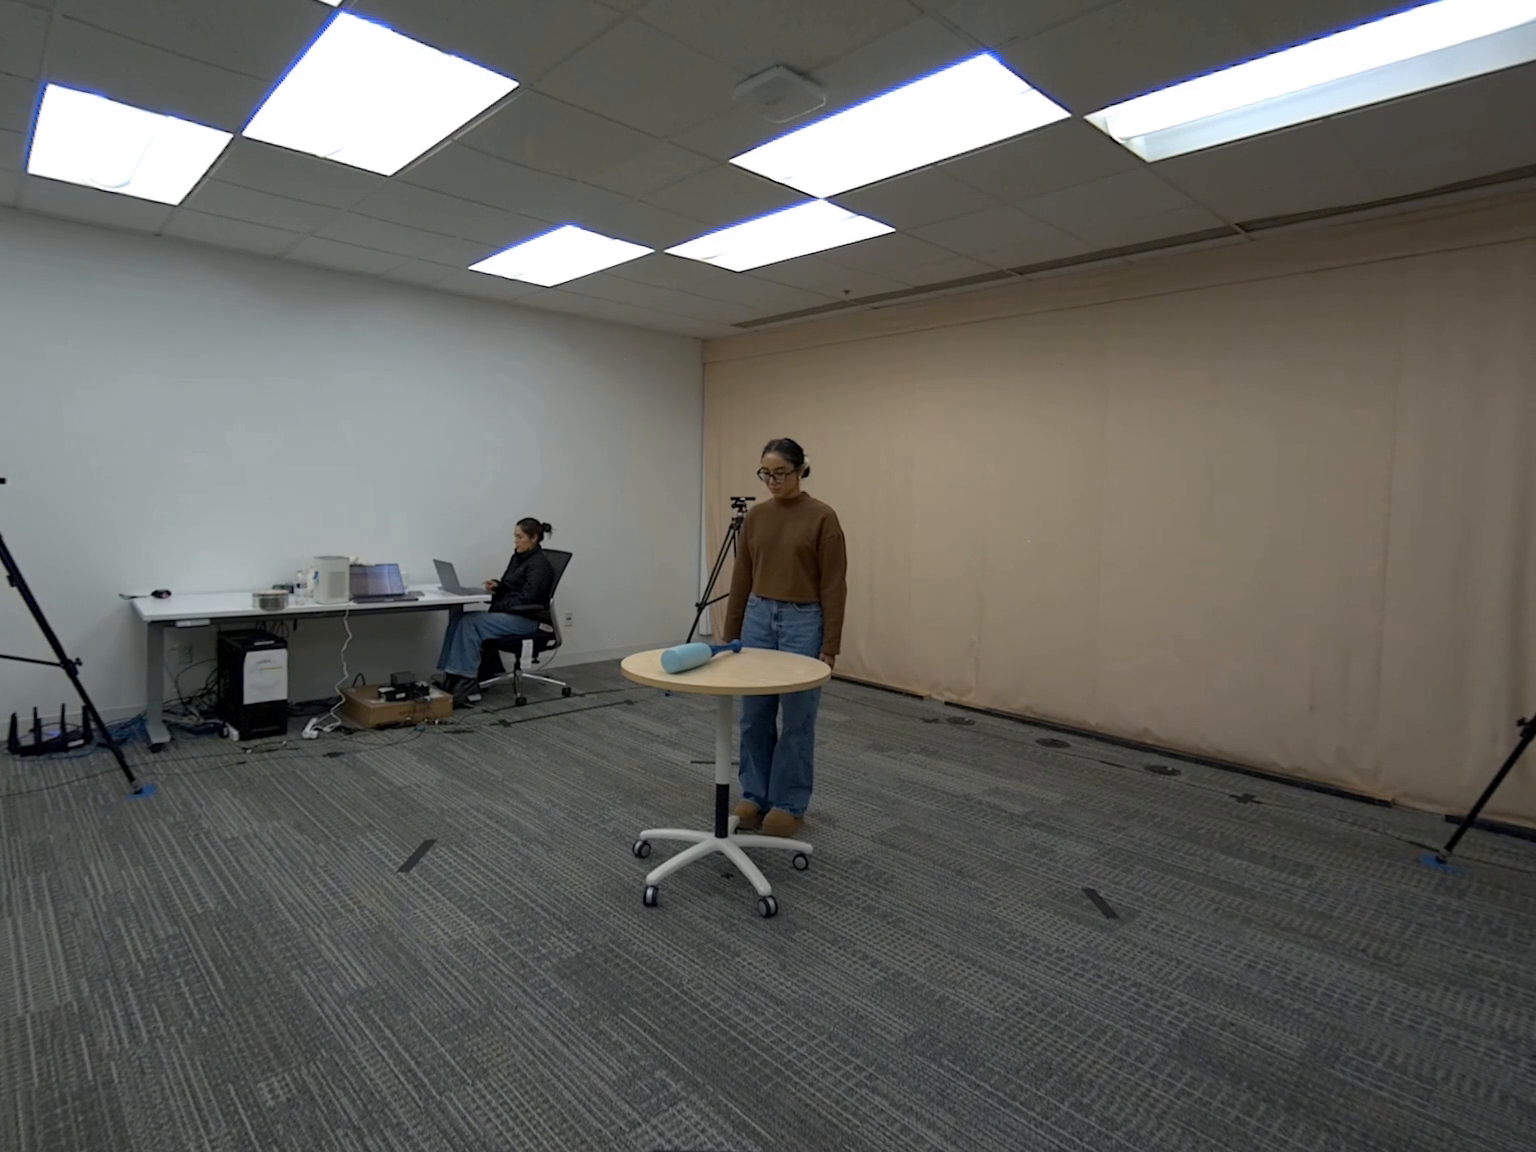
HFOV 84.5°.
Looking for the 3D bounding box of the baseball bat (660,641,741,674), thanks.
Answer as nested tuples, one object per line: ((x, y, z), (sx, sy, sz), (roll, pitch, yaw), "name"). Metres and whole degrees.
((-0.234, 0.288, 3.106), (0.090, 0.089, 0.534), (3, 2, 22), "baseball bat")
